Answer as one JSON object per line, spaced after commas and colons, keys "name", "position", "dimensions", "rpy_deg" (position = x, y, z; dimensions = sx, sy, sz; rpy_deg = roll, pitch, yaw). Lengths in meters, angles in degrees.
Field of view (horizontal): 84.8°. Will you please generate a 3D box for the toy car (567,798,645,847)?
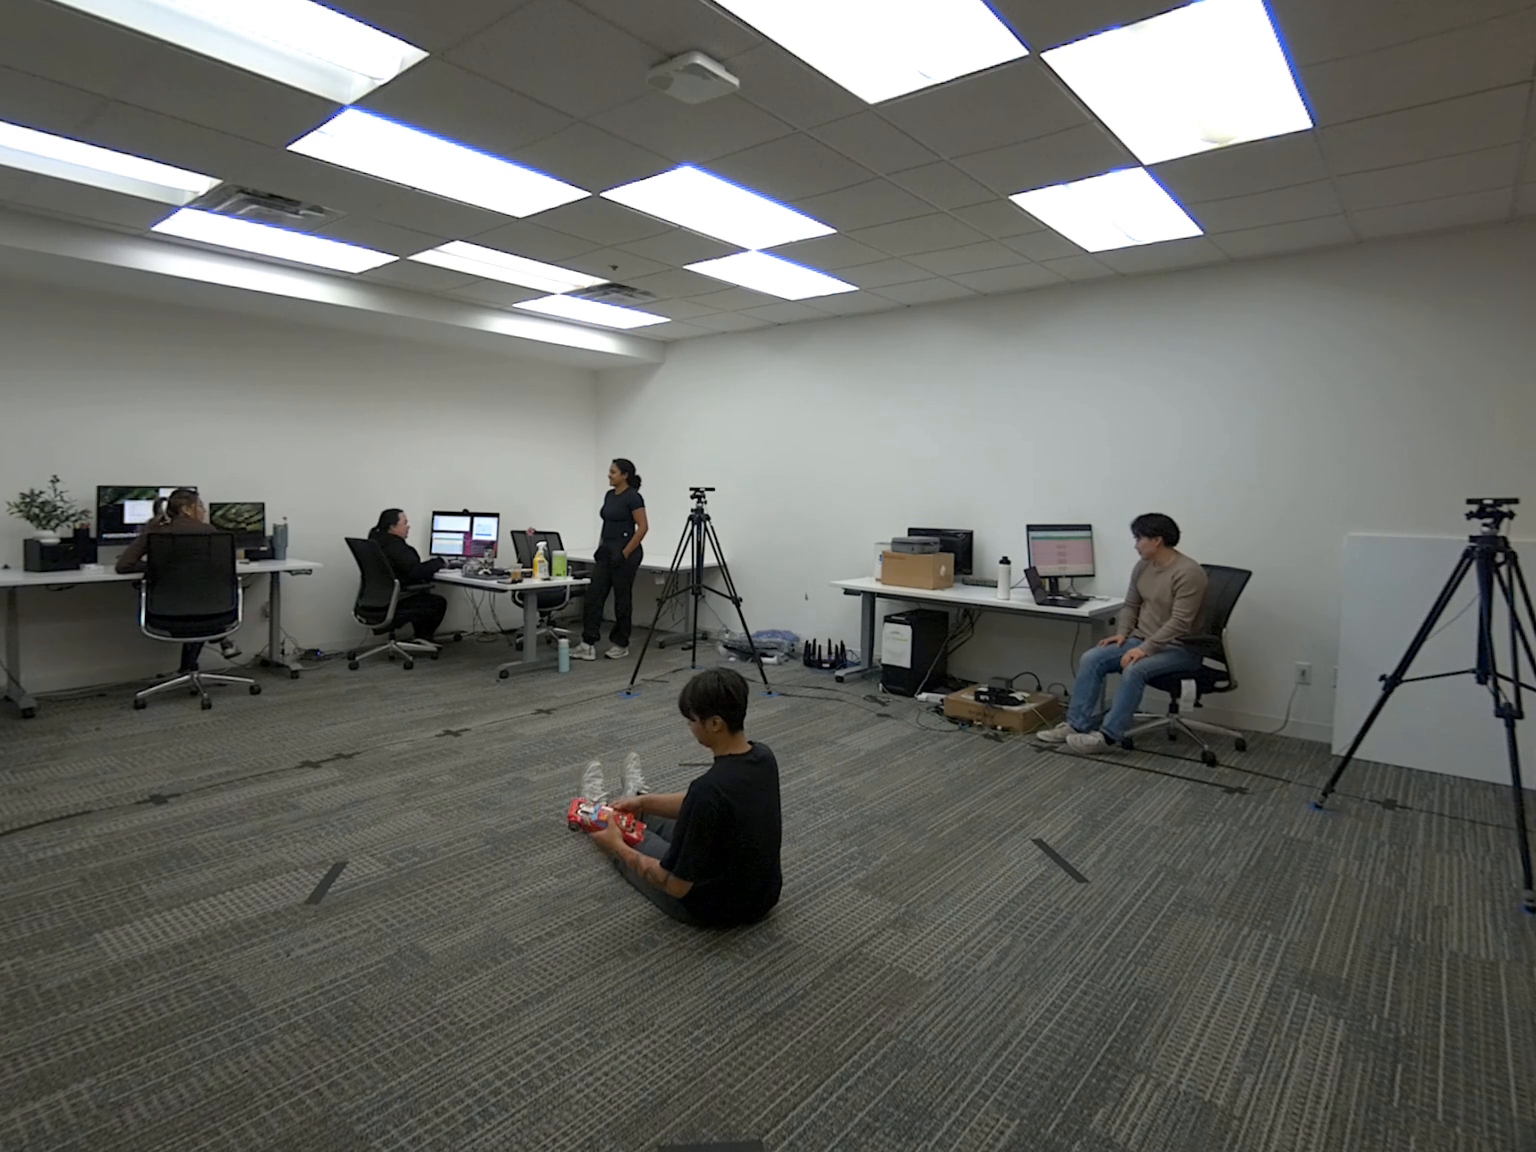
{"name": "toy car", "position": [-0.520, 0.794, 2.726], "dimensions": [0.254, 0.082, 0.132], "rpy_deg": [13, 24, -3]}
